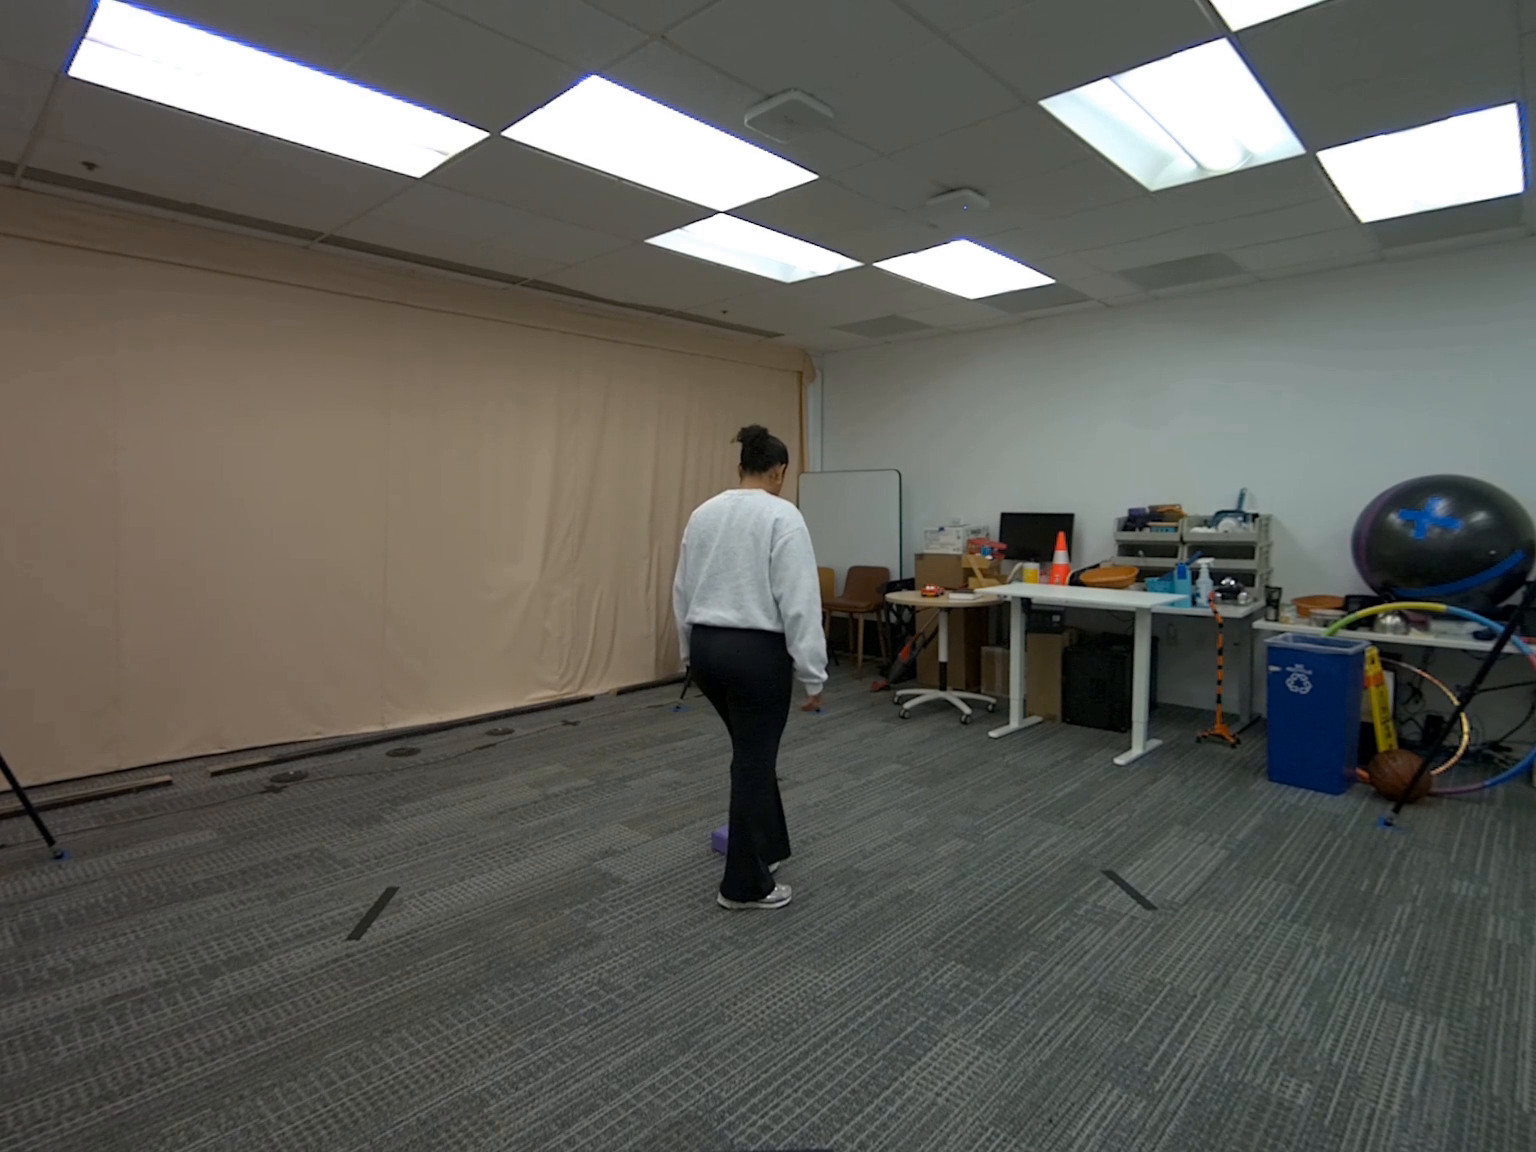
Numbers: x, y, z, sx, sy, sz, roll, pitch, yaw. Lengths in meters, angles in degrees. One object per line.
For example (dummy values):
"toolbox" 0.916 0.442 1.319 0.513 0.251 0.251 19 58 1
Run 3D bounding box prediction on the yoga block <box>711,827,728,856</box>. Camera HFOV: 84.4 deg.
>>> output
"yoga block" -0.110 1.066 3.392 0.144 0.076 0.237 -4 6 -40
